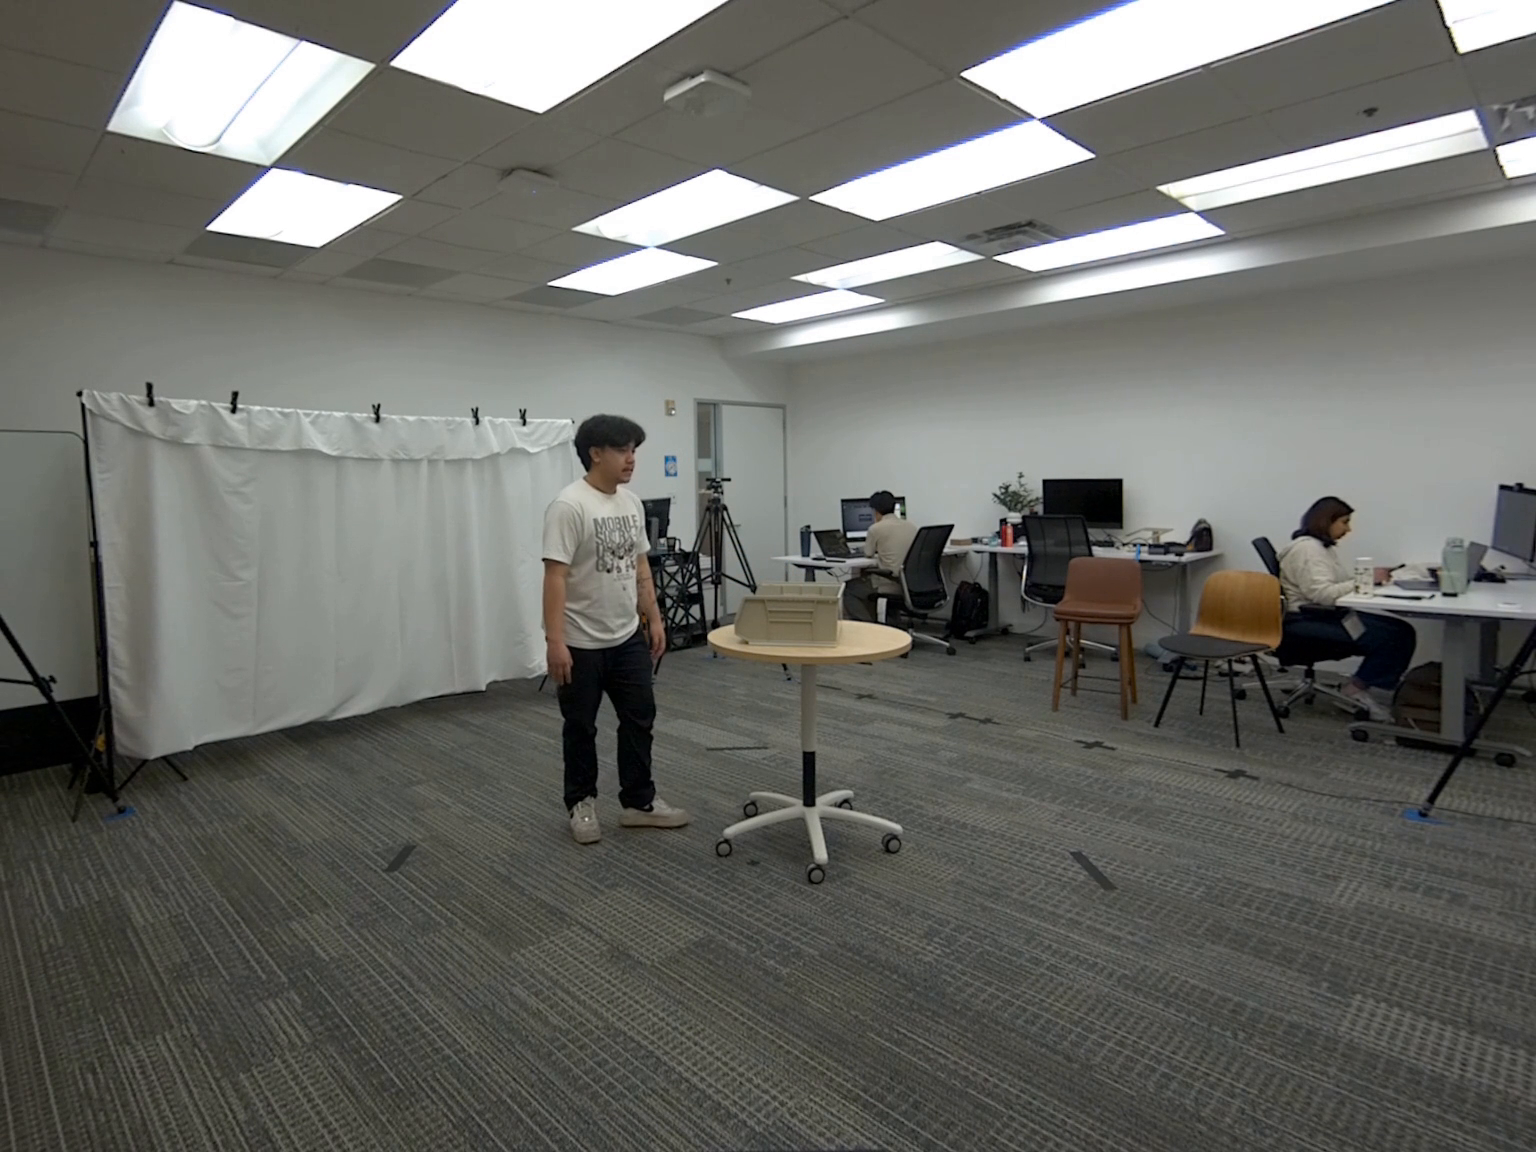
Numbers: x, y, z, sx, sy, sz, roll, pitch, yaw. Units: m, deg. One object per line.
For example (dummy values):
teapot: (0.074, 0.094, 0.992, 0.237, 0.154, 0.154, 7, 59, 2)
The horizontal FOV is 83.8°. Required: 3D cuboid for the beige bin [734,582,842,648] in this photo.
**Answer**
beige bin: (0.085, 0.136, 3.228, 0.381, 0.188, 0.421, 3, 7, 8)
